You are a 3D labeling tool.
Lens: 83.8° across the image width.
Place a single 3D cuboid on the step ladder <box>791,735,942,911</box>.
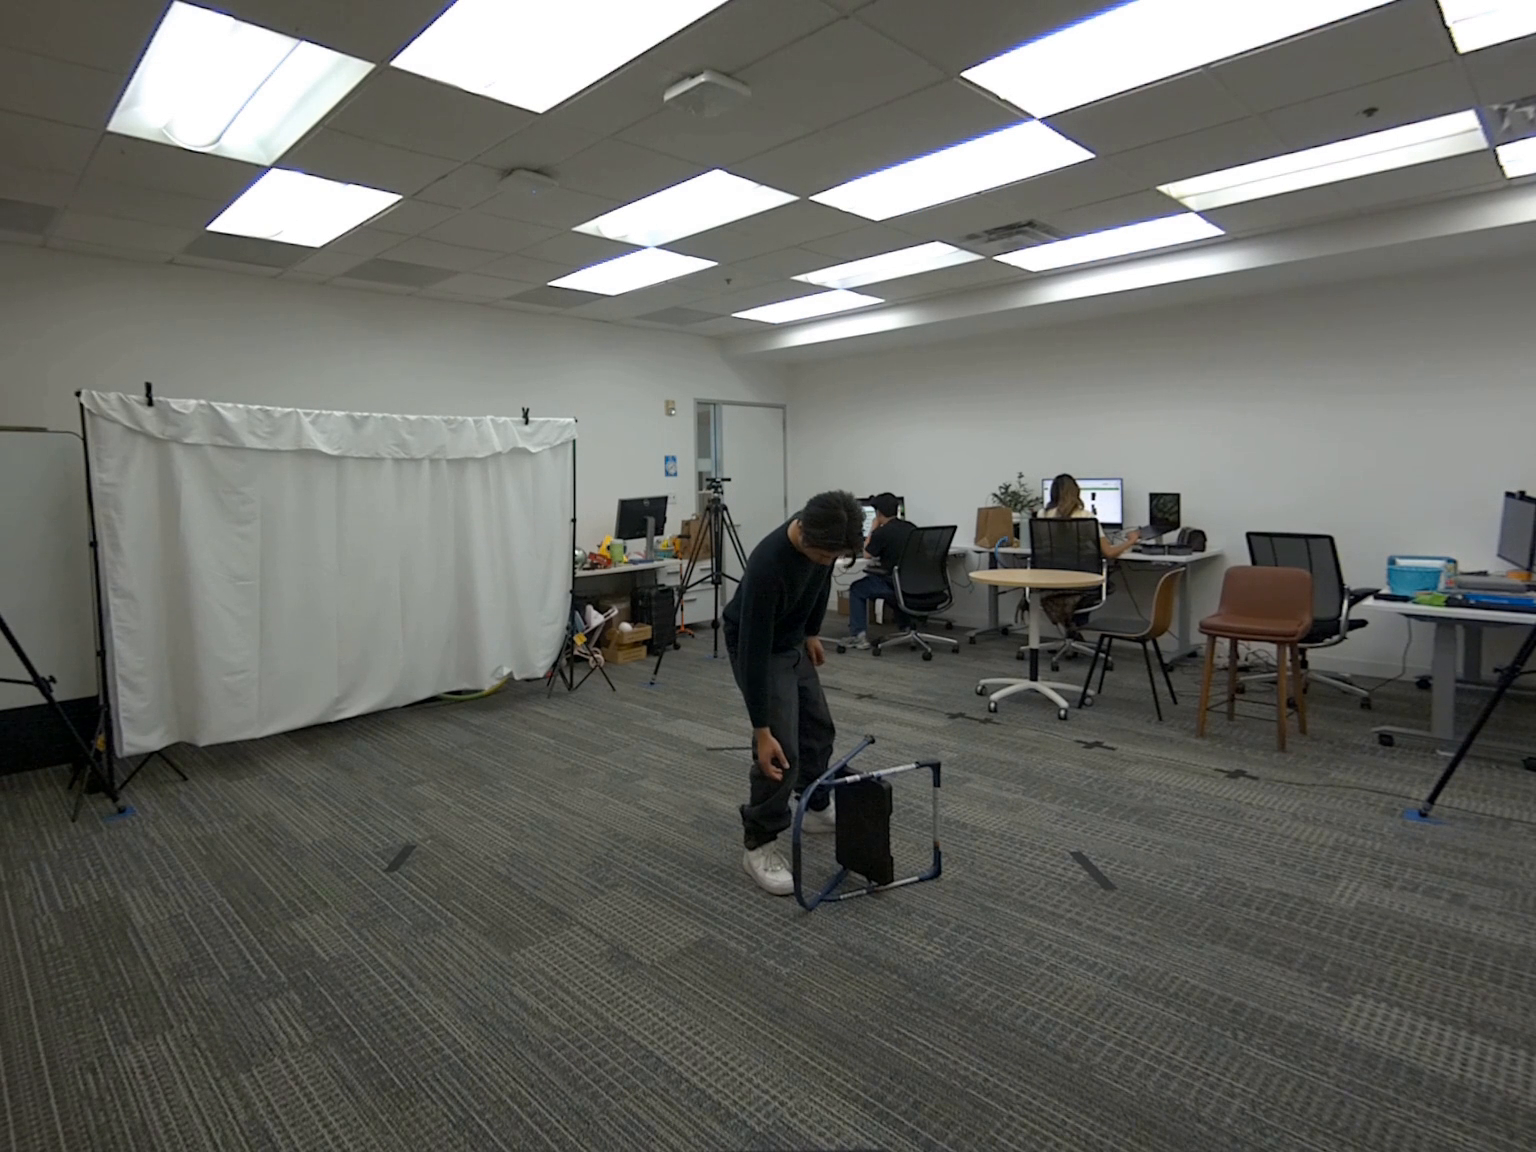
[{"bbox_3d":[0.269,0.854,2.903,0.591,0.428,0.360,-8,8,-39],"label":"step ladder"}]
